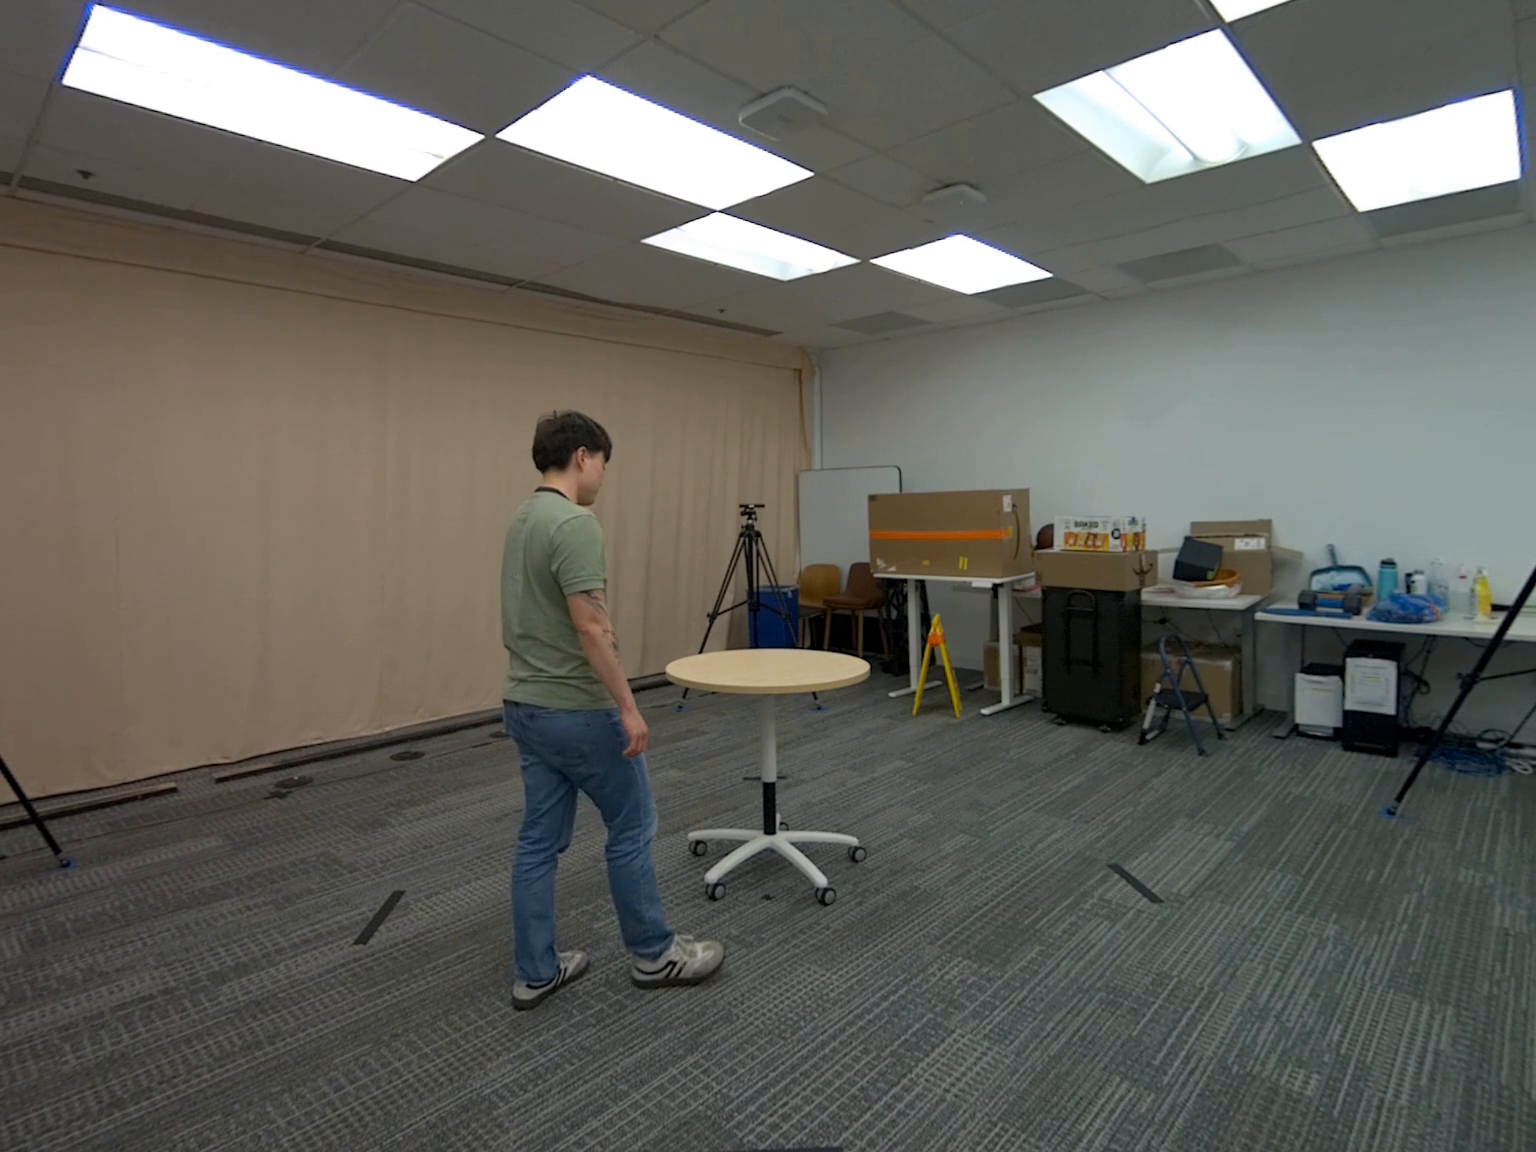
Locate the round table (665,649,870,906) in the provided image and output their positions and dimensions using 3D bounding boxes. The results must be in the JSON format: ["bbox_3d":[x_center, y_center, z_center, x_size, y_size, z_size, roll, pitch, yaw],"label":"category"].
[{"bbox_3d":[0.009,0.734,3.191,0.763,0.792,0.766,-1,3,-2],"label":"round table"}]
